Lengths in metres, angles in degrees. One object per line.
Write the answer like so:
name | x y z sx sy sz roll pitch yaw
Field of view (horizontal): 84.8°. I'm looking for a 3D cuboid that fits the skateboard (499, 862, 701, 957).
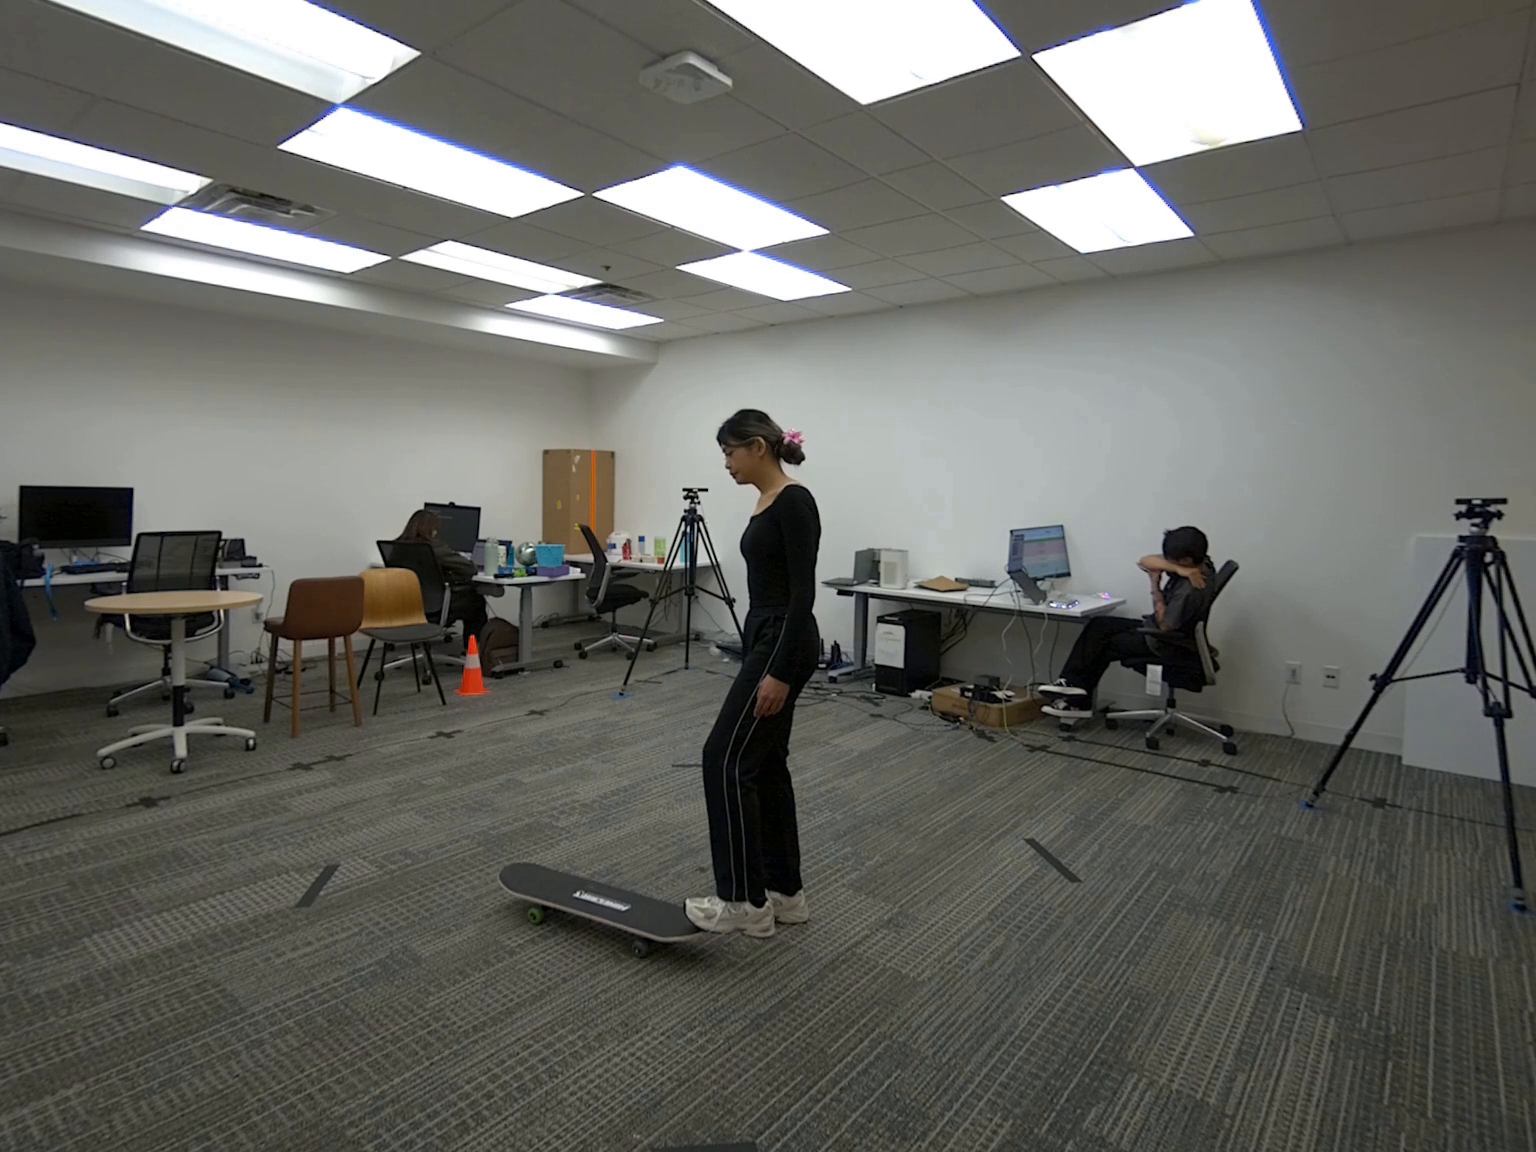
skateboard | -0.537 1.047 2.675 0.807 0.110 0.189 4 6 27
